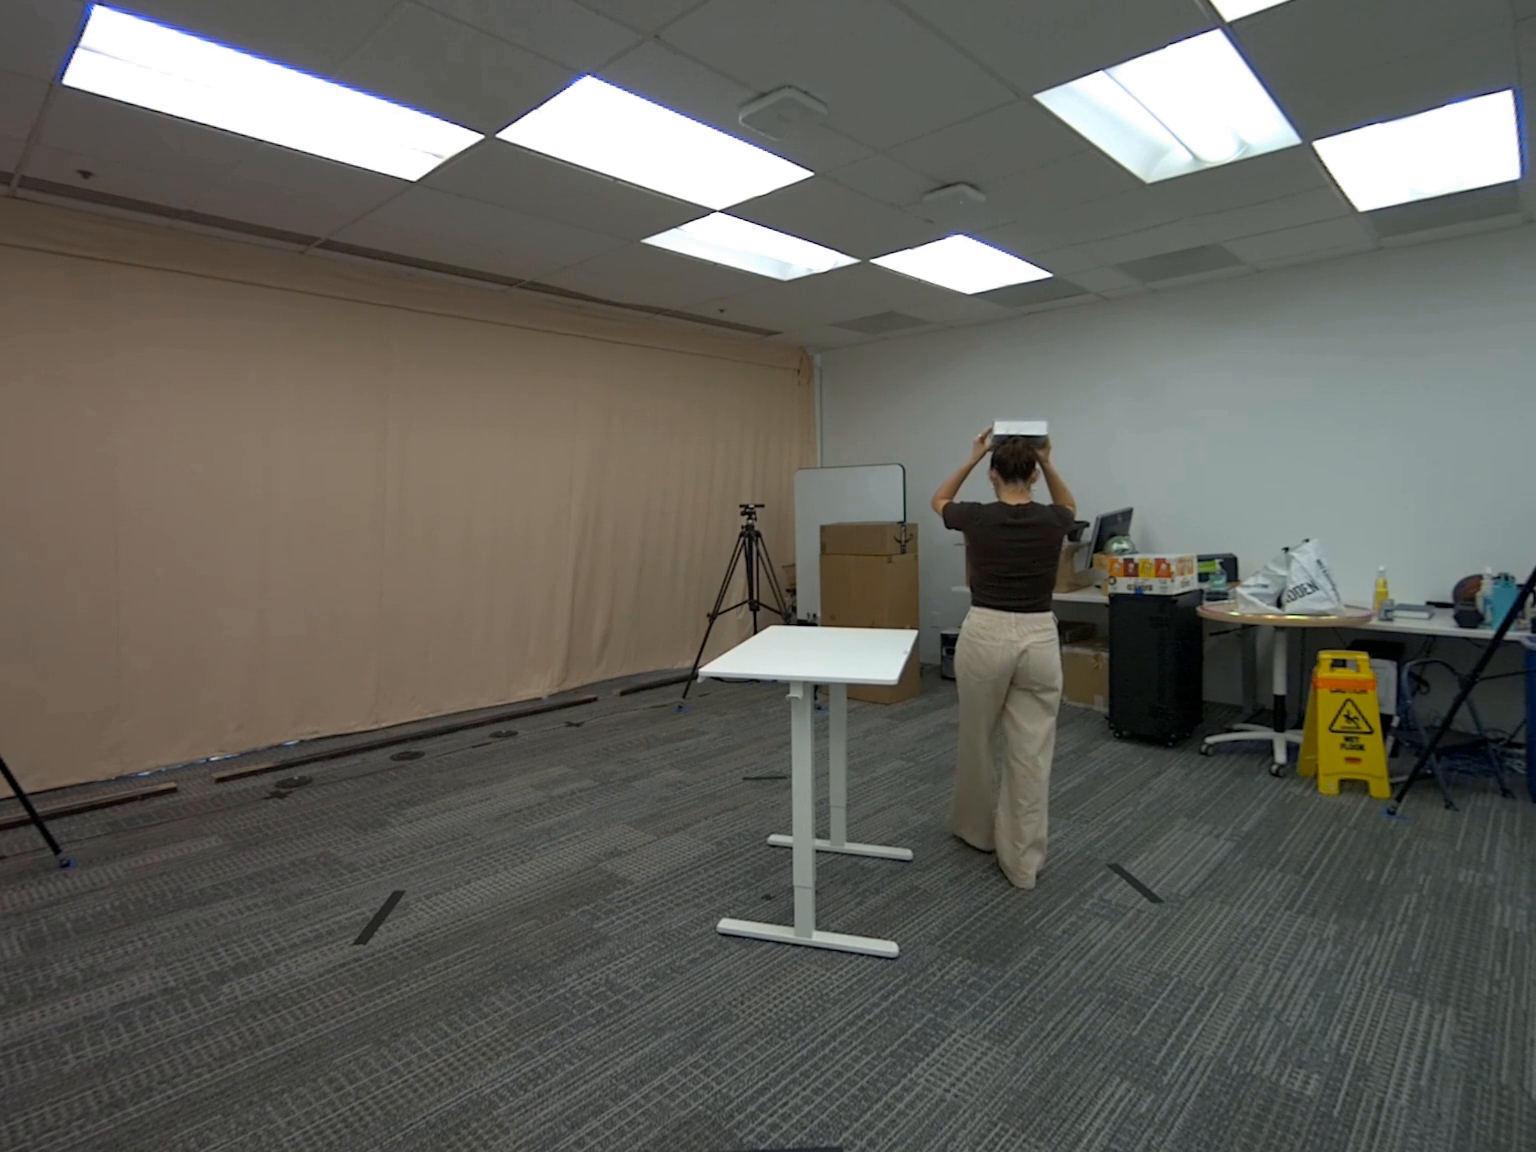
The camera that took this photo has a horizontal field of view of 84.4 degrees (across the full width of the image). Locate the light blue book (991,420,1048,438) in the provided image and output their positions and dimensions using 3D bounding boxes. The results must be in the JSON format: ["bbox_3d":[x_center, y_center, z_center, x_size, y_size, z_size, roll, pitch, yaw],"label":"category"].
[{"bbox_3d":[0.936,-0.525,3.159,0.194,0.059,0.256,2,-6,11],"label":"light blue book"}]
